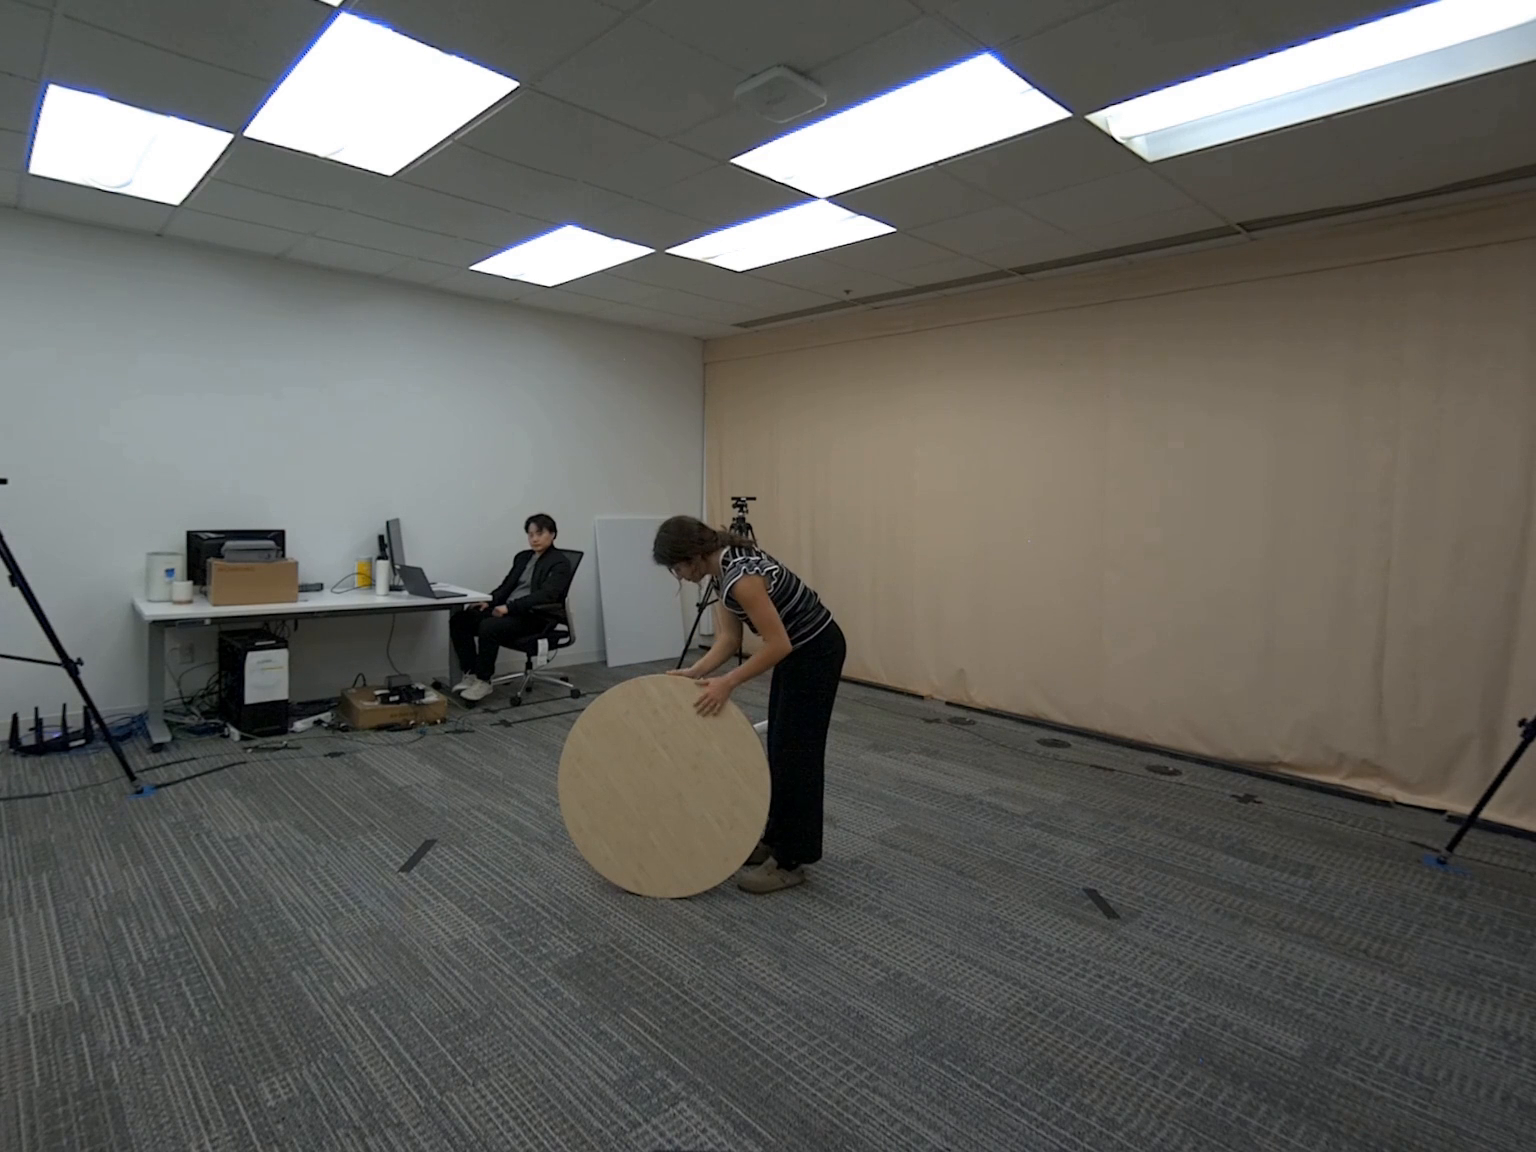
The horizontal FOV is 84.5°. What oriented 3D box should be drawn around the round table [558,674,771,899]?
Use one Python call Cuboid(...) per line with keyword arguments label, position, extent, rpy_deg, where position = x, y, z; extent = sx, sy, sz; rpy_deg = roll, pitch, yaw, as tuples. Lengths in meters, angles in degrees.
Cuboid(label="round table", position=(-0.335, 0.750, 3.339), extent=(0.769, 0.765, 0.787), rpy_deg=(2, -2, 8))
